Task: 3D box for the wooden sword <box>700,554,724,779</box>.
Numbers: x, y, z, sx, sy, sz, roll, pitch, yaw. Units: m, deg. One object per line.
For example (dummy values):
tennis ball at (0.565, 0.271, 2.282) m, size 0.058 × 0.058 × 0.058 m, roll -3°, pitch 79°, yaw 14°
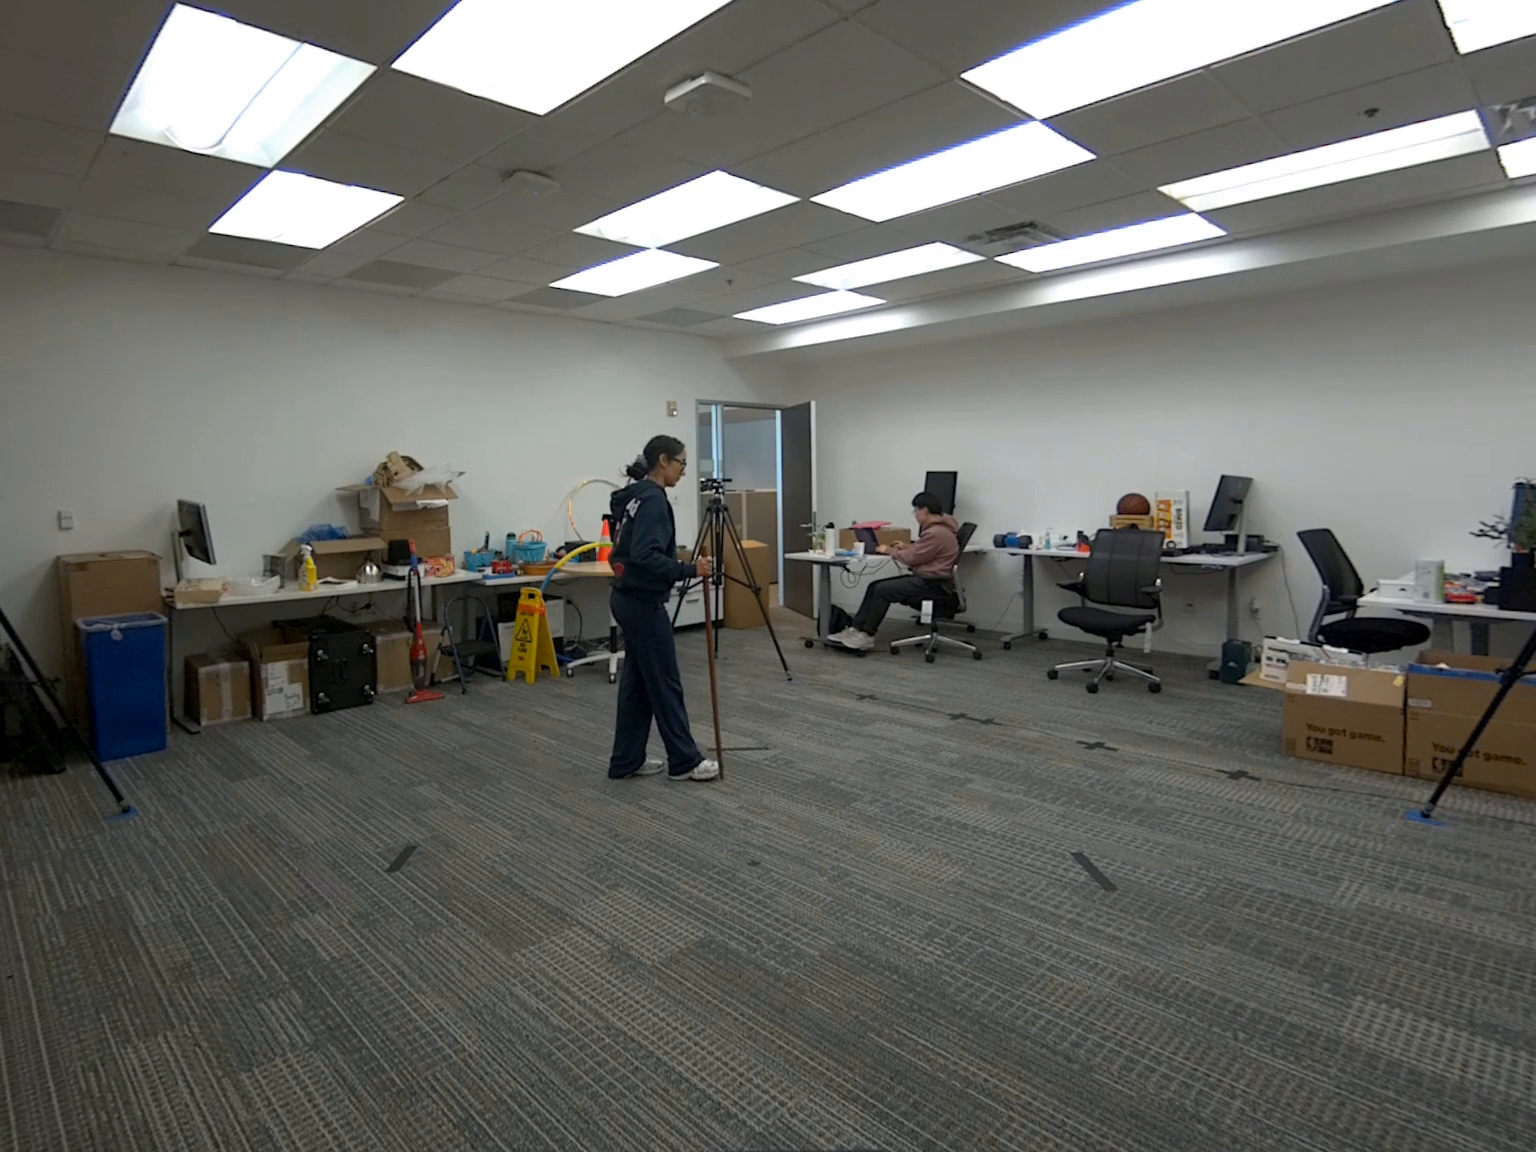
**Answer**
wooden sword at (-0.247, 0.410, 3.772) m, size 0.023 × 1.025 × 0.052 m, roll -3°, pitch -1°, yaw -27°
